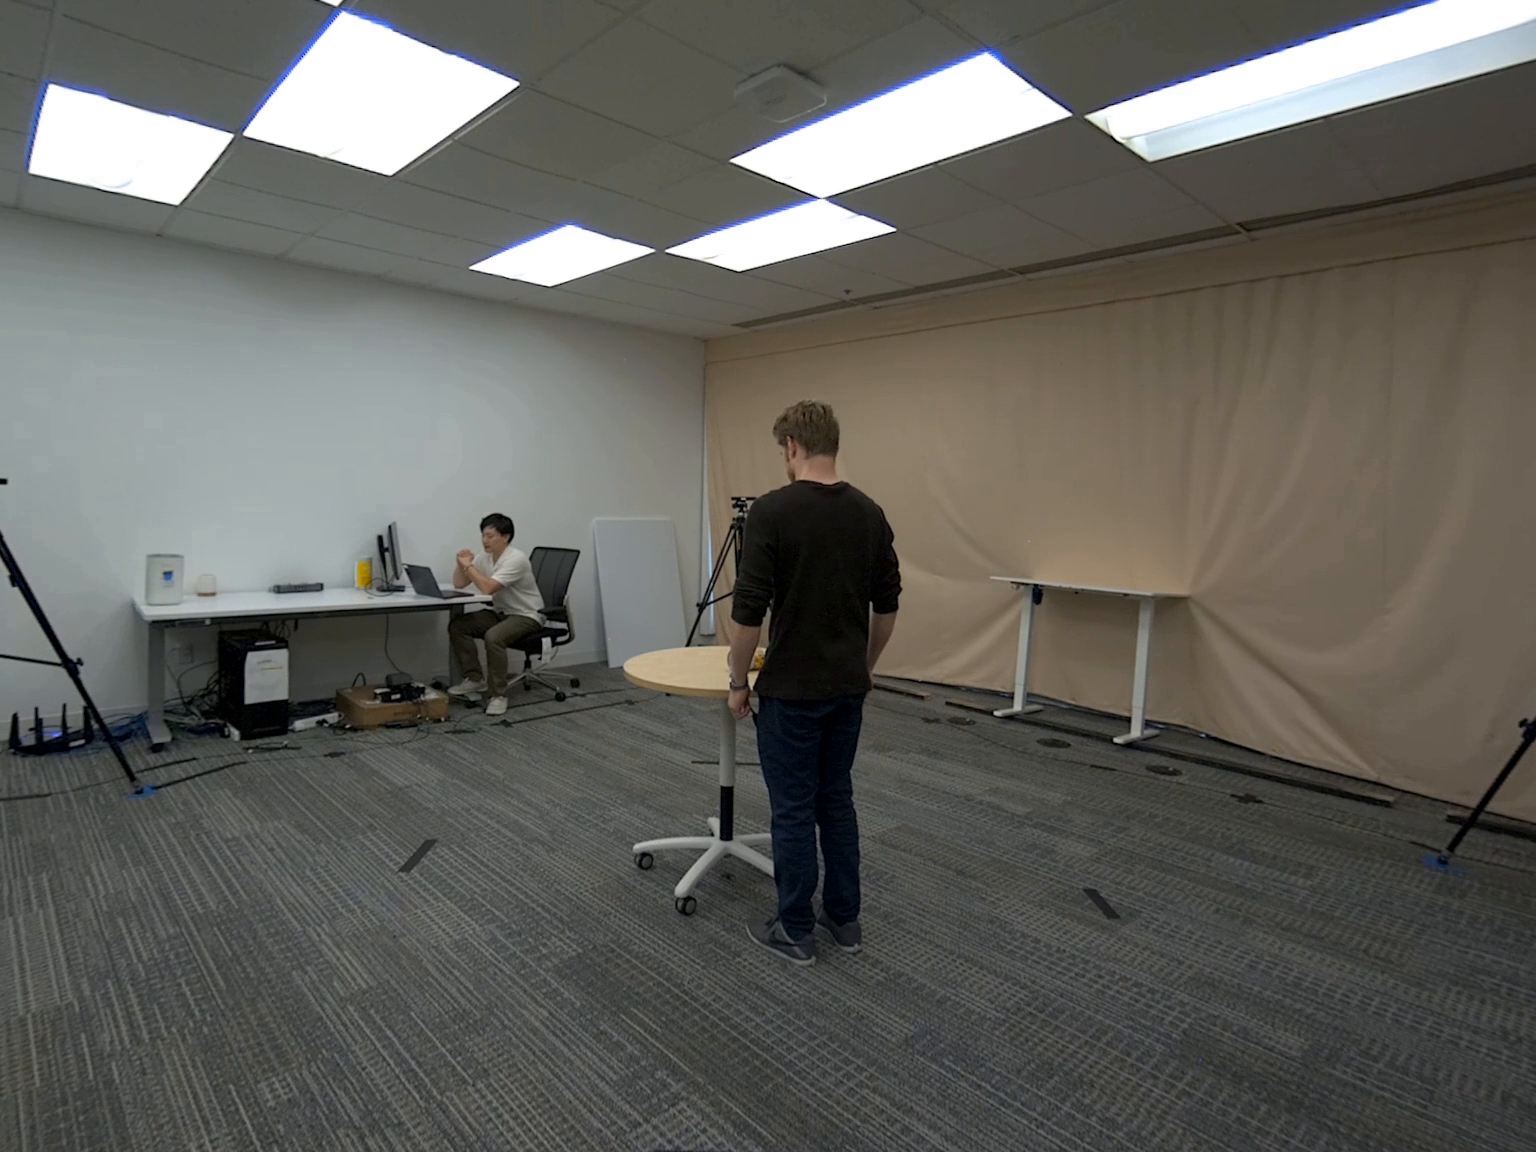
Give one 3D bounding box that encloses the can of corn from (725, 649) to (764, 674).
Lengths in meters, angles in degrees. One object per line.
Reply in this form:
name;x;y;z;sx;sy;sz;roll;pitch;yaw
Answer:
can of corn;-0.086;0.297;2.977;0.109;0.074;0.076;-1;5;-28
